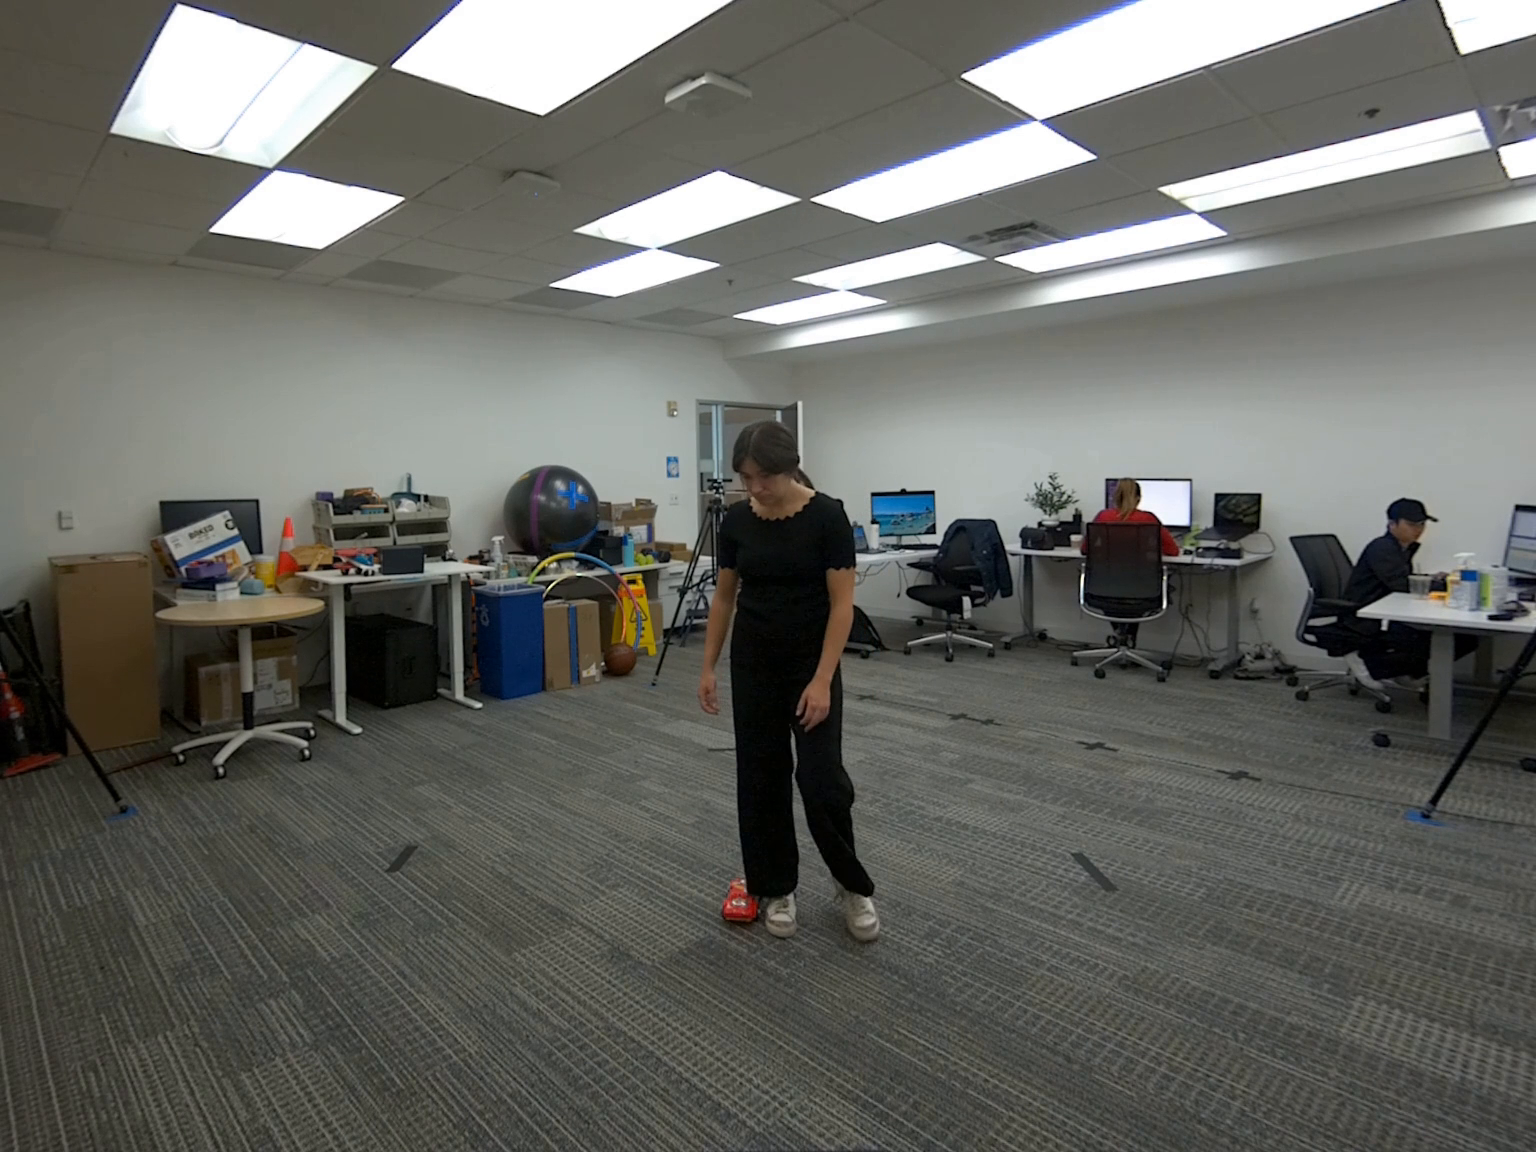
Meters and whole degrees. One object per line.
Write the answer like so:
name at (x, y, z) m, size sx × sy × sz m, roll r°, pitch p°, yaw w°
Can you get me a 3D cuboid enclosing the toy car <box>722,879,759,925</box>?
toy car at (-0.076, 1.054, 2.755) m, size 0.131 × 0.084 × 0.251 m, roll 0°, pitch -5°, yaw 8°
